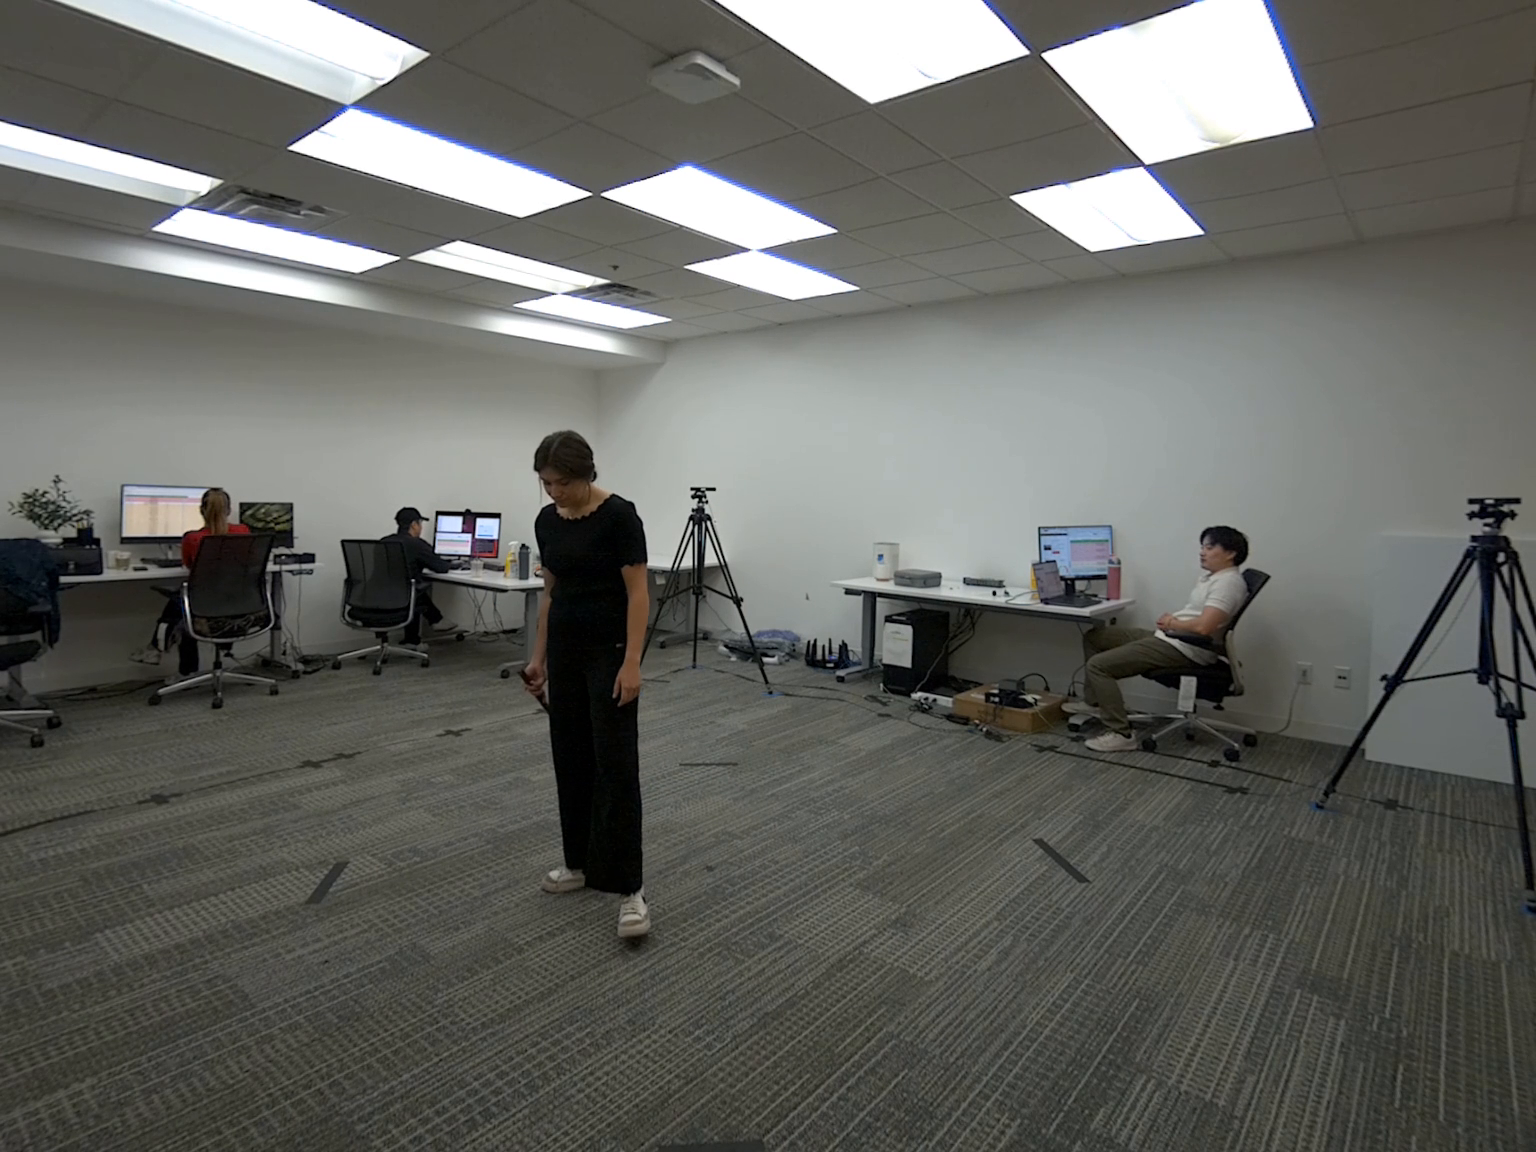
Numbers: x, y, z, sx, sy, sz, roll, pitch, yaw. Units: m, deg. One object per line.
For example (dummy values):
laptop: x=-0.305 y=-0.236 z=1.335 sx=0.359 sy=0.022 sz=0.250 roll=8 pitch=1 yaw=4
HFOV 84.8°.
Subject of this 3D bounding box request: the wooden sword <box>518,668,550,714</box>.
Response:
wooden sword: x=-0.735 y=0.674 z=3.267 sx=0.051 sy=0.985 sz=0.025 roll=-26 pitch=42 yaw=-2
